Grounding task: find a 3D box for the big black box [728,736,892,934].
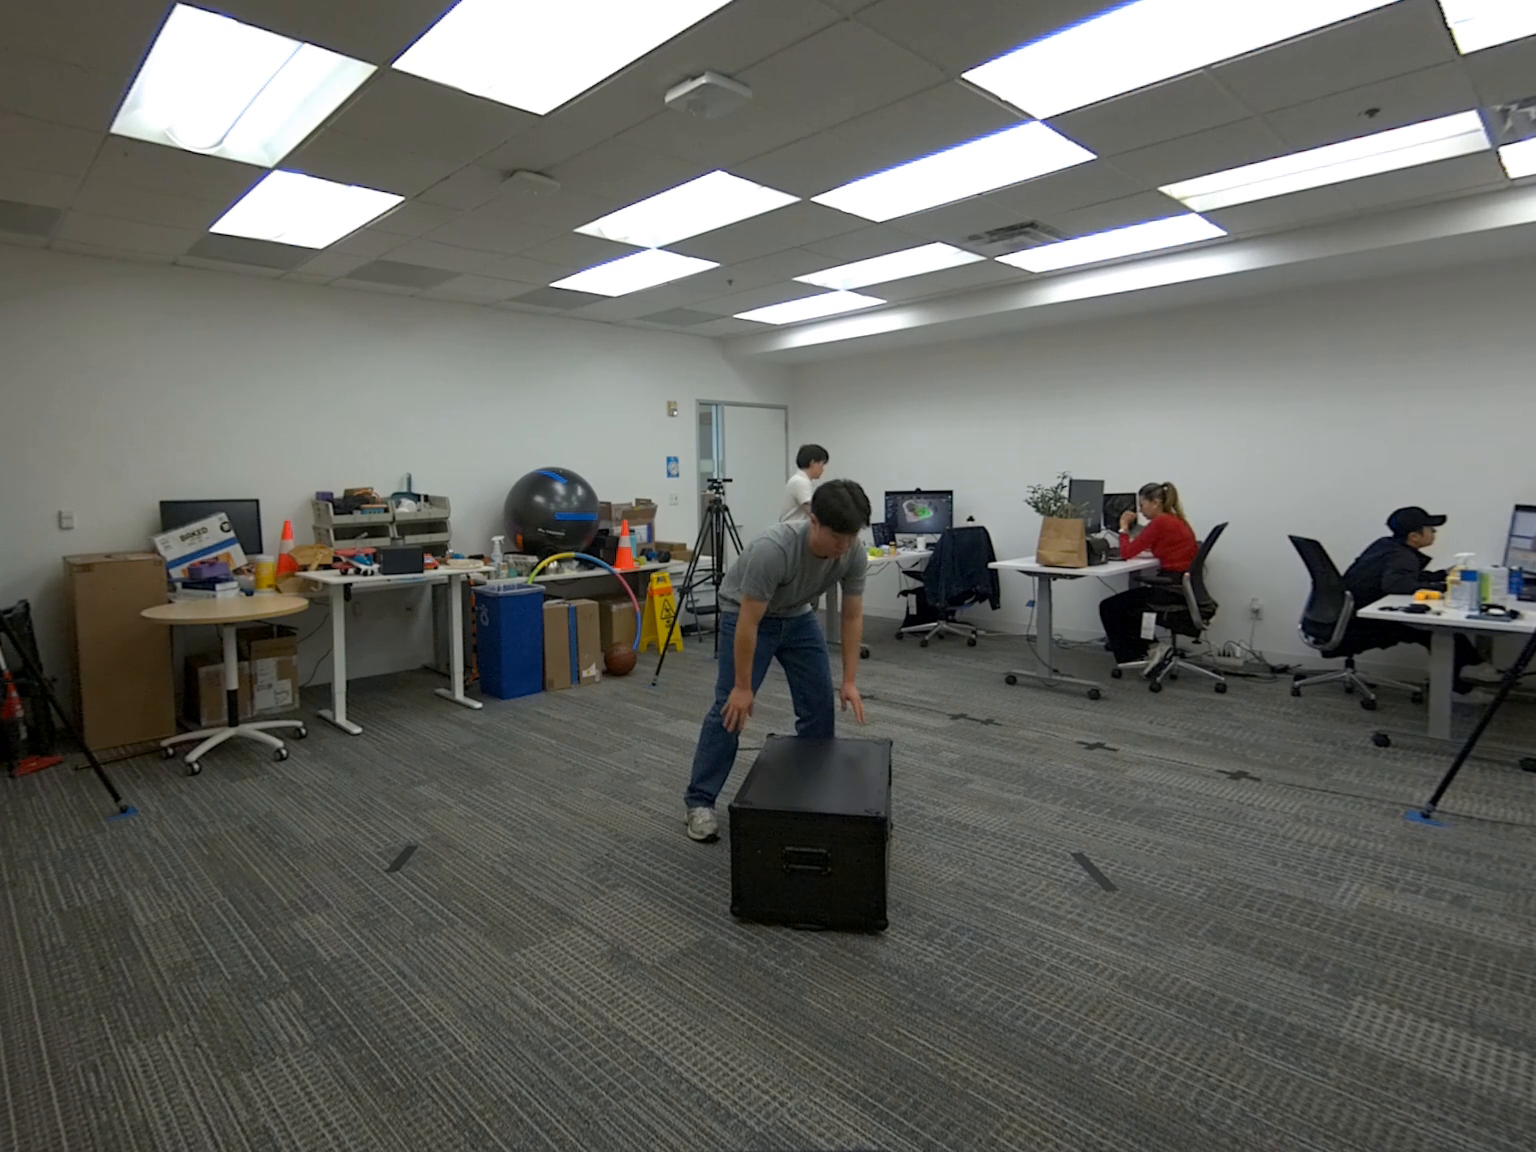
[{"bbox_3d":[0.190,0.855,3.026,0.527,0.395,0.855,-1,5,11],"label":"big black box"}]
